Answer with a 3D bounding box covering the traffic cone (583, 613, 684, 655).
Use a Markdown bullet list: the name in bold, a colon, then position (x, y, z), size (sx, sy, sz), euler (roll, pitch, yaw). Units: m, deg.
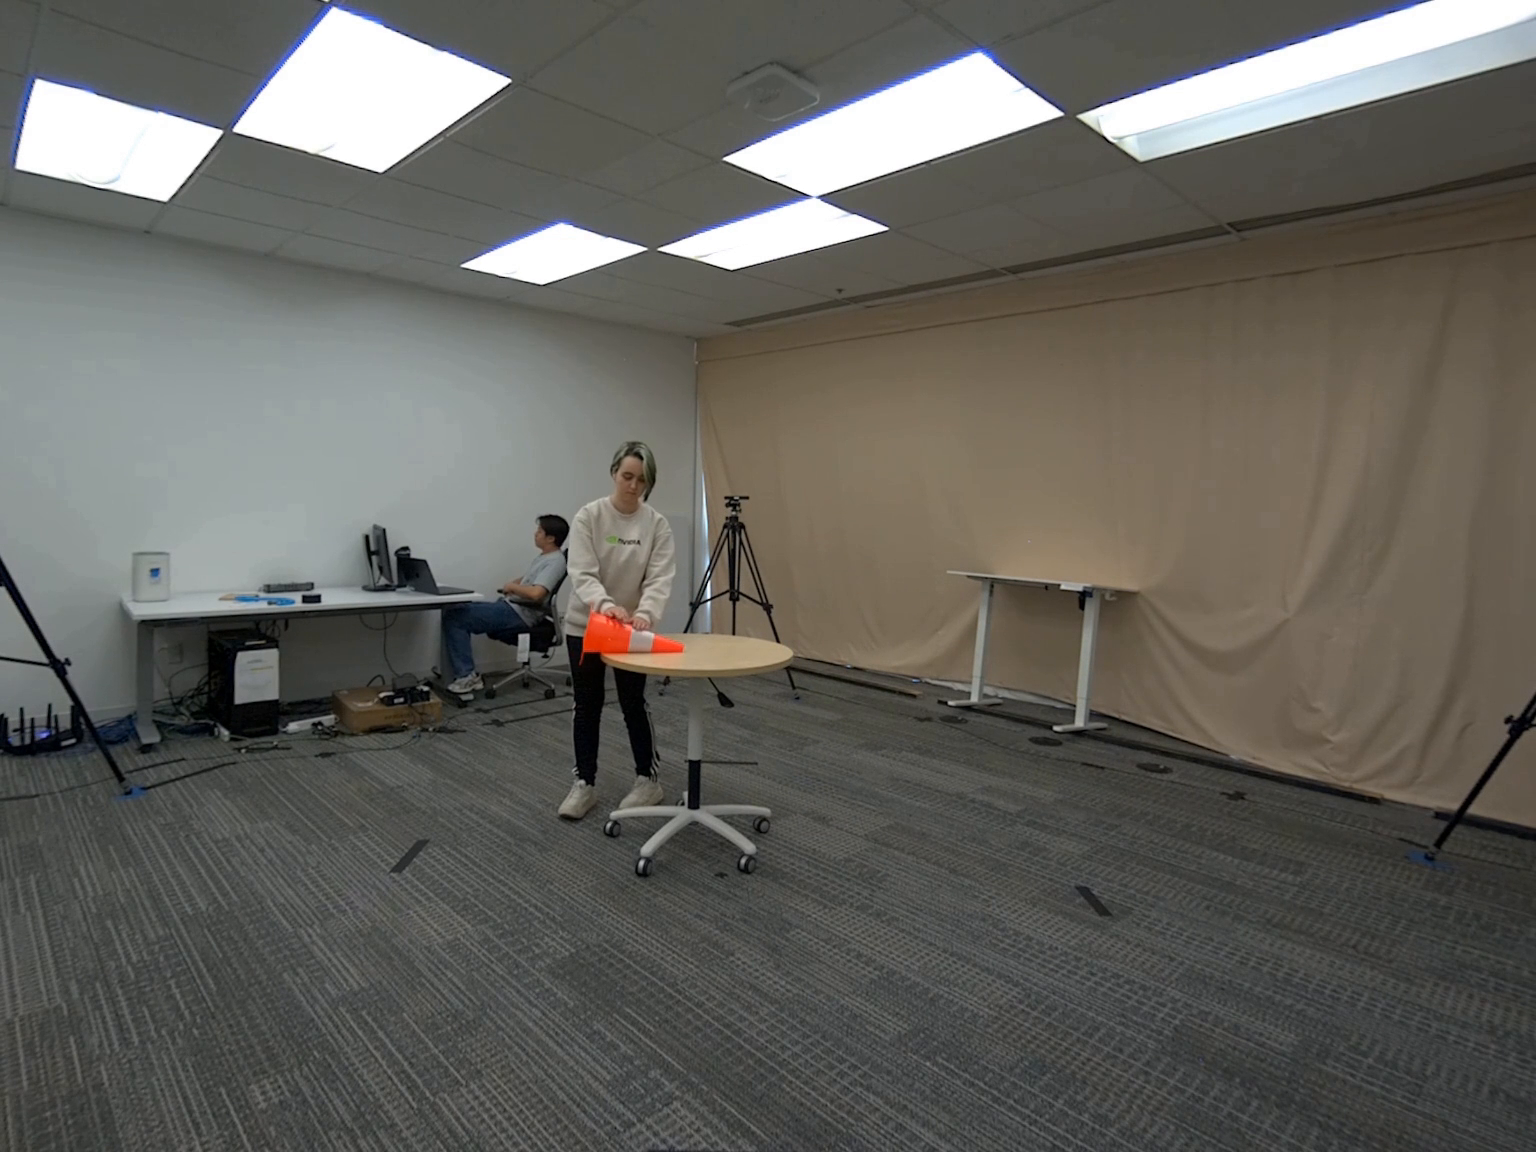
- **traffic cone**: position (-0.542, 0.255, 3.279), size (0.380, 0.209, 0.202), euler (13, -36, -11)
